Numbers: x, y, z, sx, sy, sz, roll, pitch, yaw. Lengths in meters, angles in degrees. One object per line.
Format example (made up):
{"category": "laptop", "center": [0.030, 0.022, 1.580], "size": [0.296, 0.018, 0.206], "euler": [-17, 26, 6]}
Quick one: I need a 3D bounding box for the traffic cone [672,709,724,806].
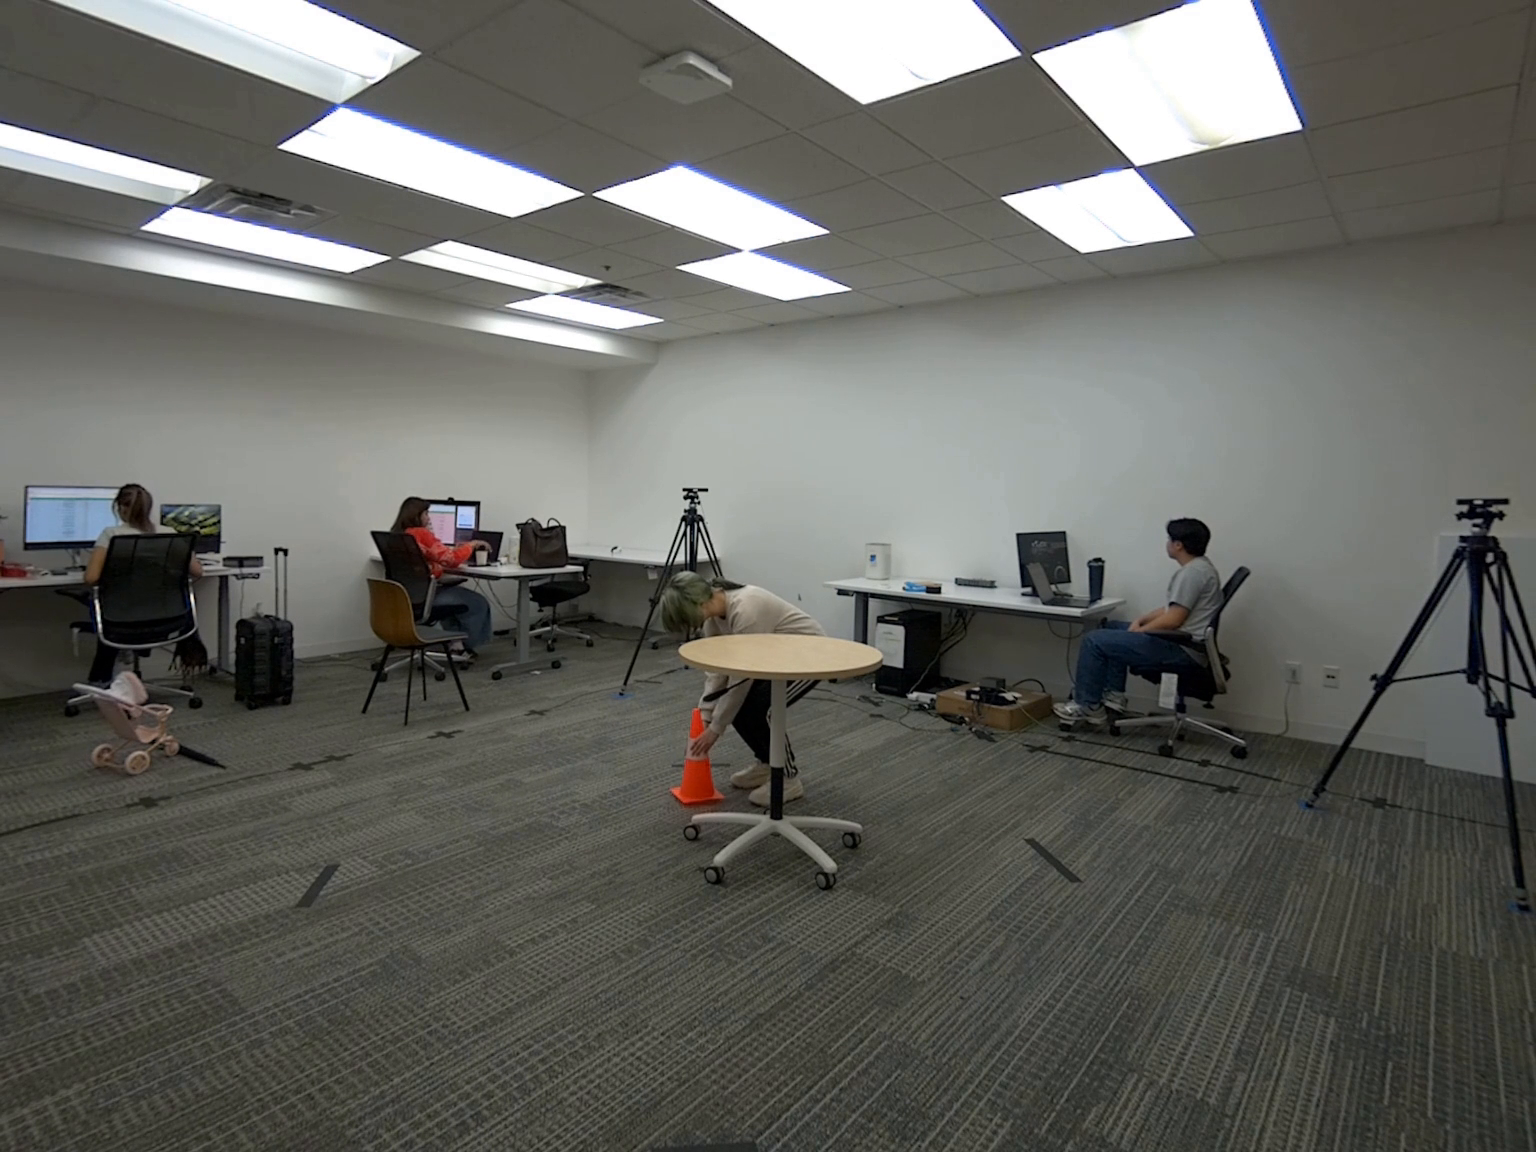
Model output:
{"category": "traffic cone", "center": [-0.329, 0.782, 3.841], "size": [0.199, 0.383, 0.209], "euler": [0, 1, -22]}
